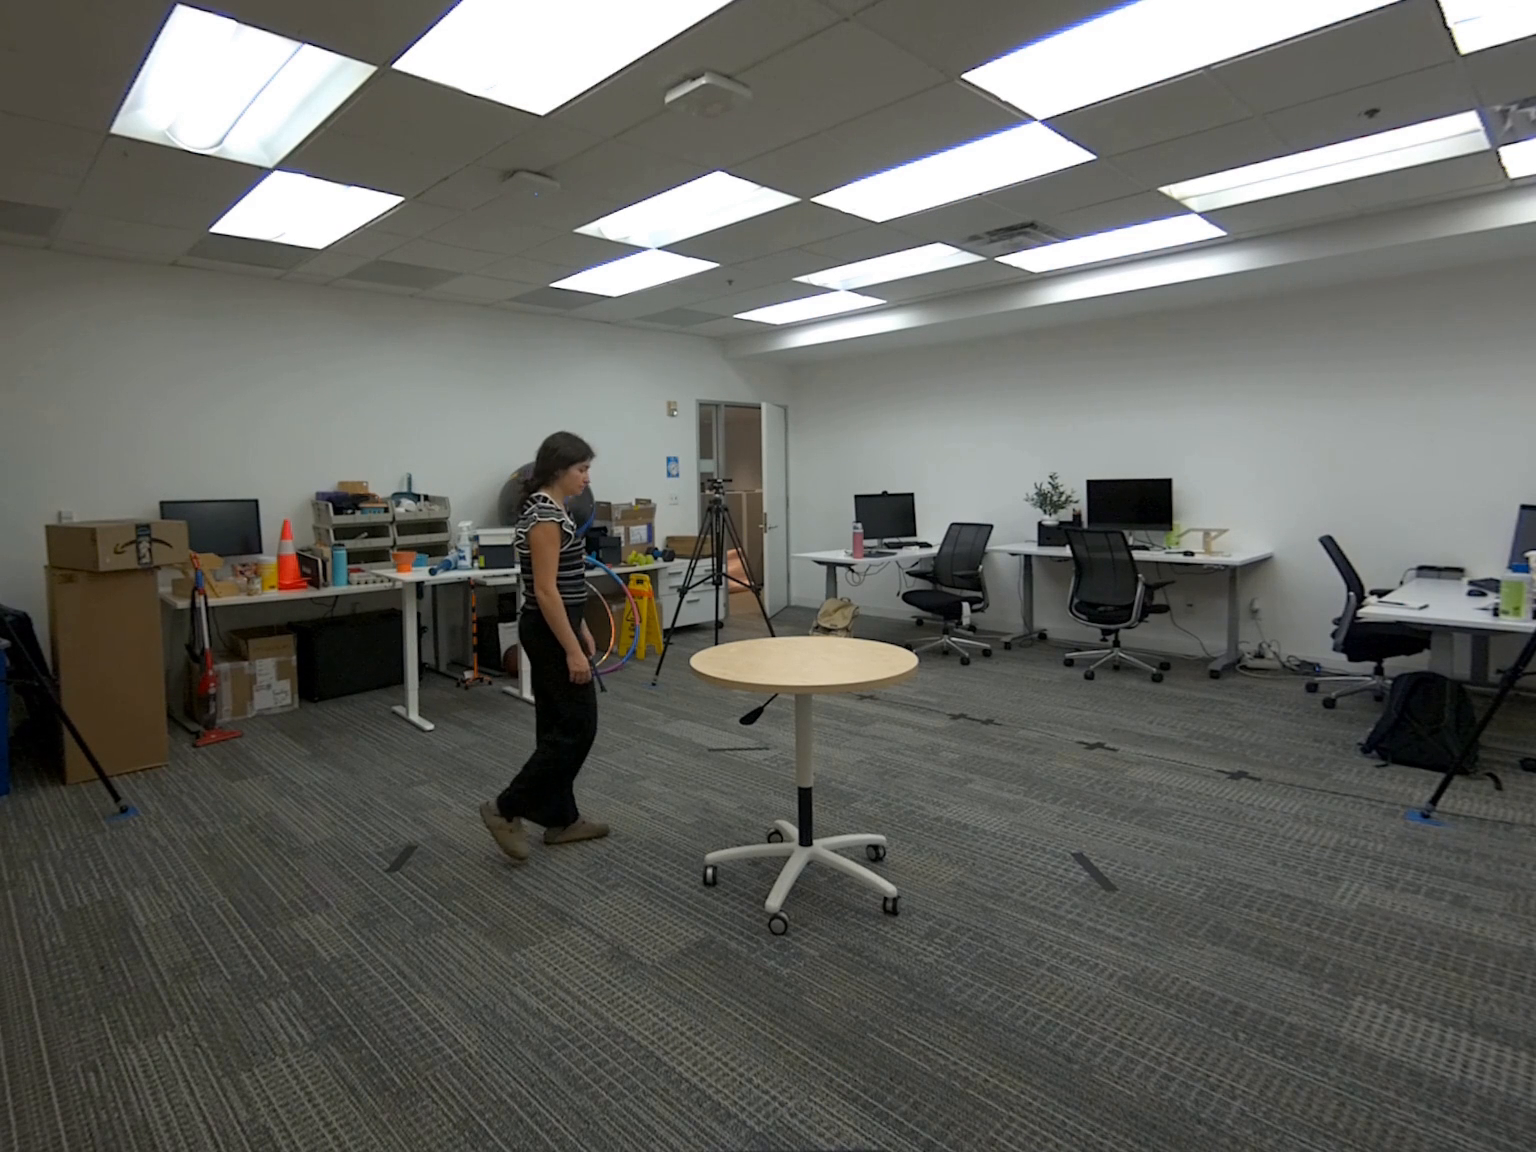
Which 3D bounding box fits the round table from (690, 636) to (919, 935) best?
[{"bbox_3d":[0.129,0.668,2.926,0.784,0.783,0.789,-1,6,-2],"label":"round table"}]
